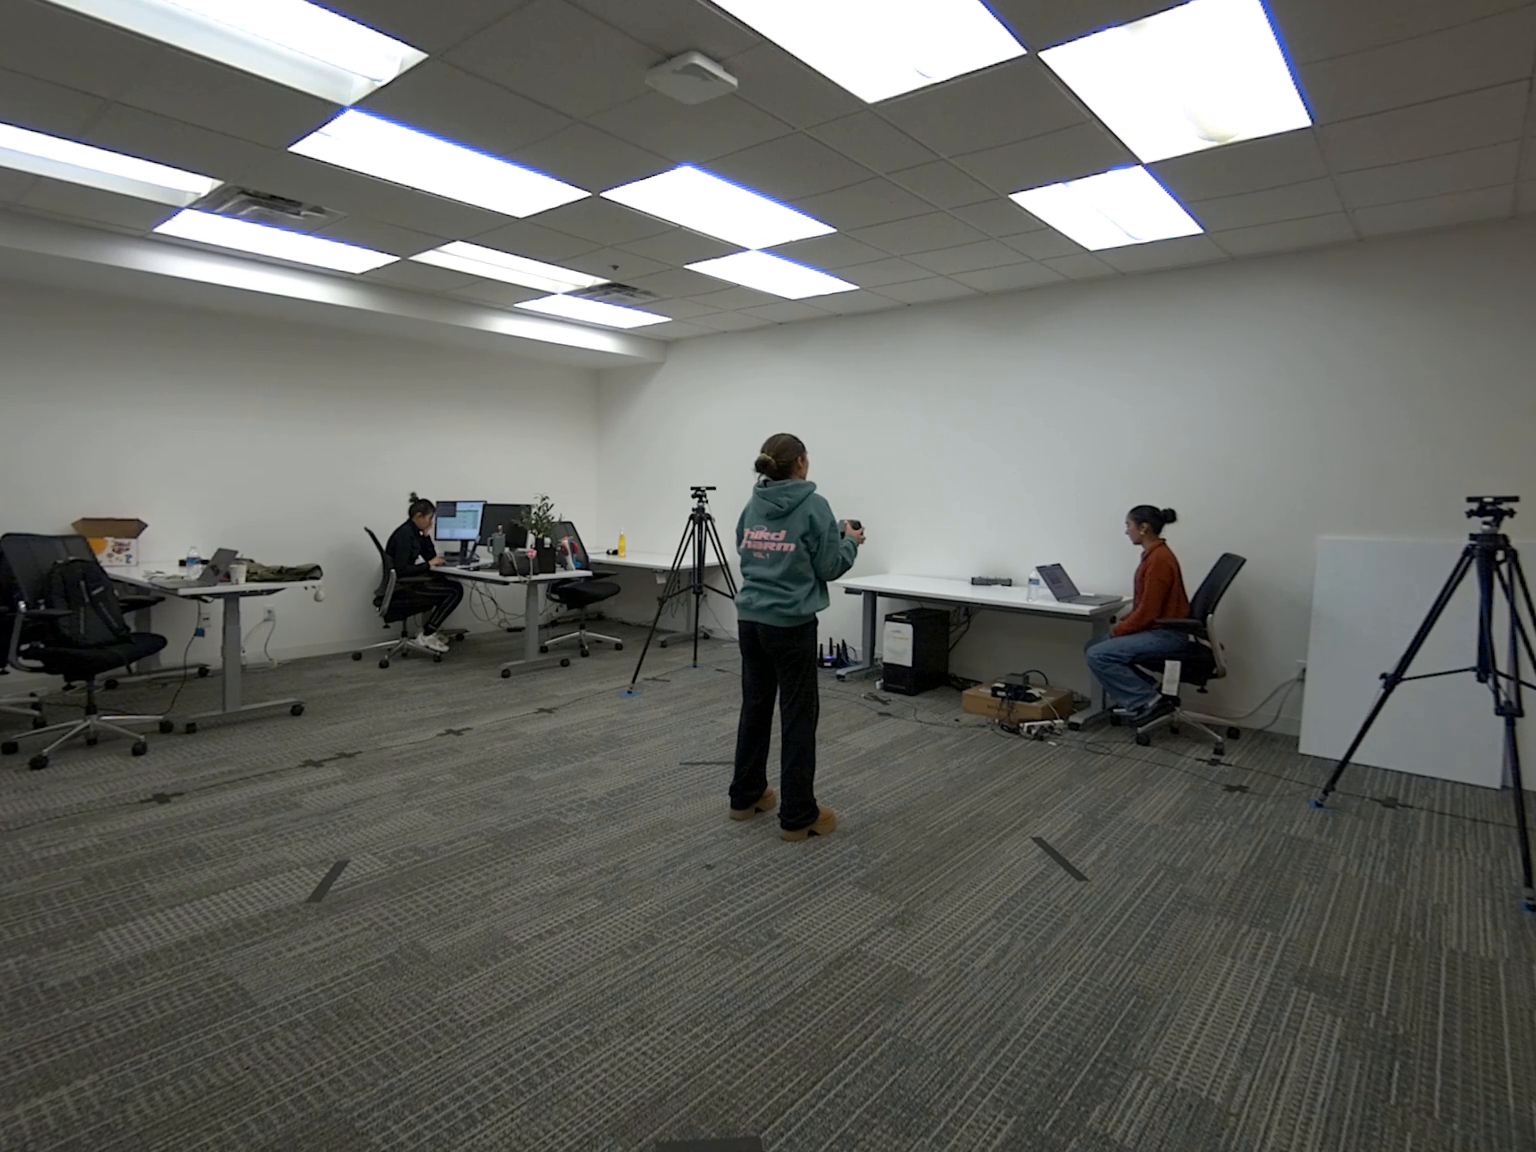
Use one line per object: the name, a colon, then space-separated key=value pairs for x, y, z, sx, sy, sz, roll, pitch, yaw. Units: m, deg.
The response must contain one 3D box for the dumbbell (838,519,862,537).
dumbbell: x=0.247 y=-0.186 z=3.725 sx=0.303 sy=0.109 sz=0.119 roll=3 pitch=-2 yaw=41
